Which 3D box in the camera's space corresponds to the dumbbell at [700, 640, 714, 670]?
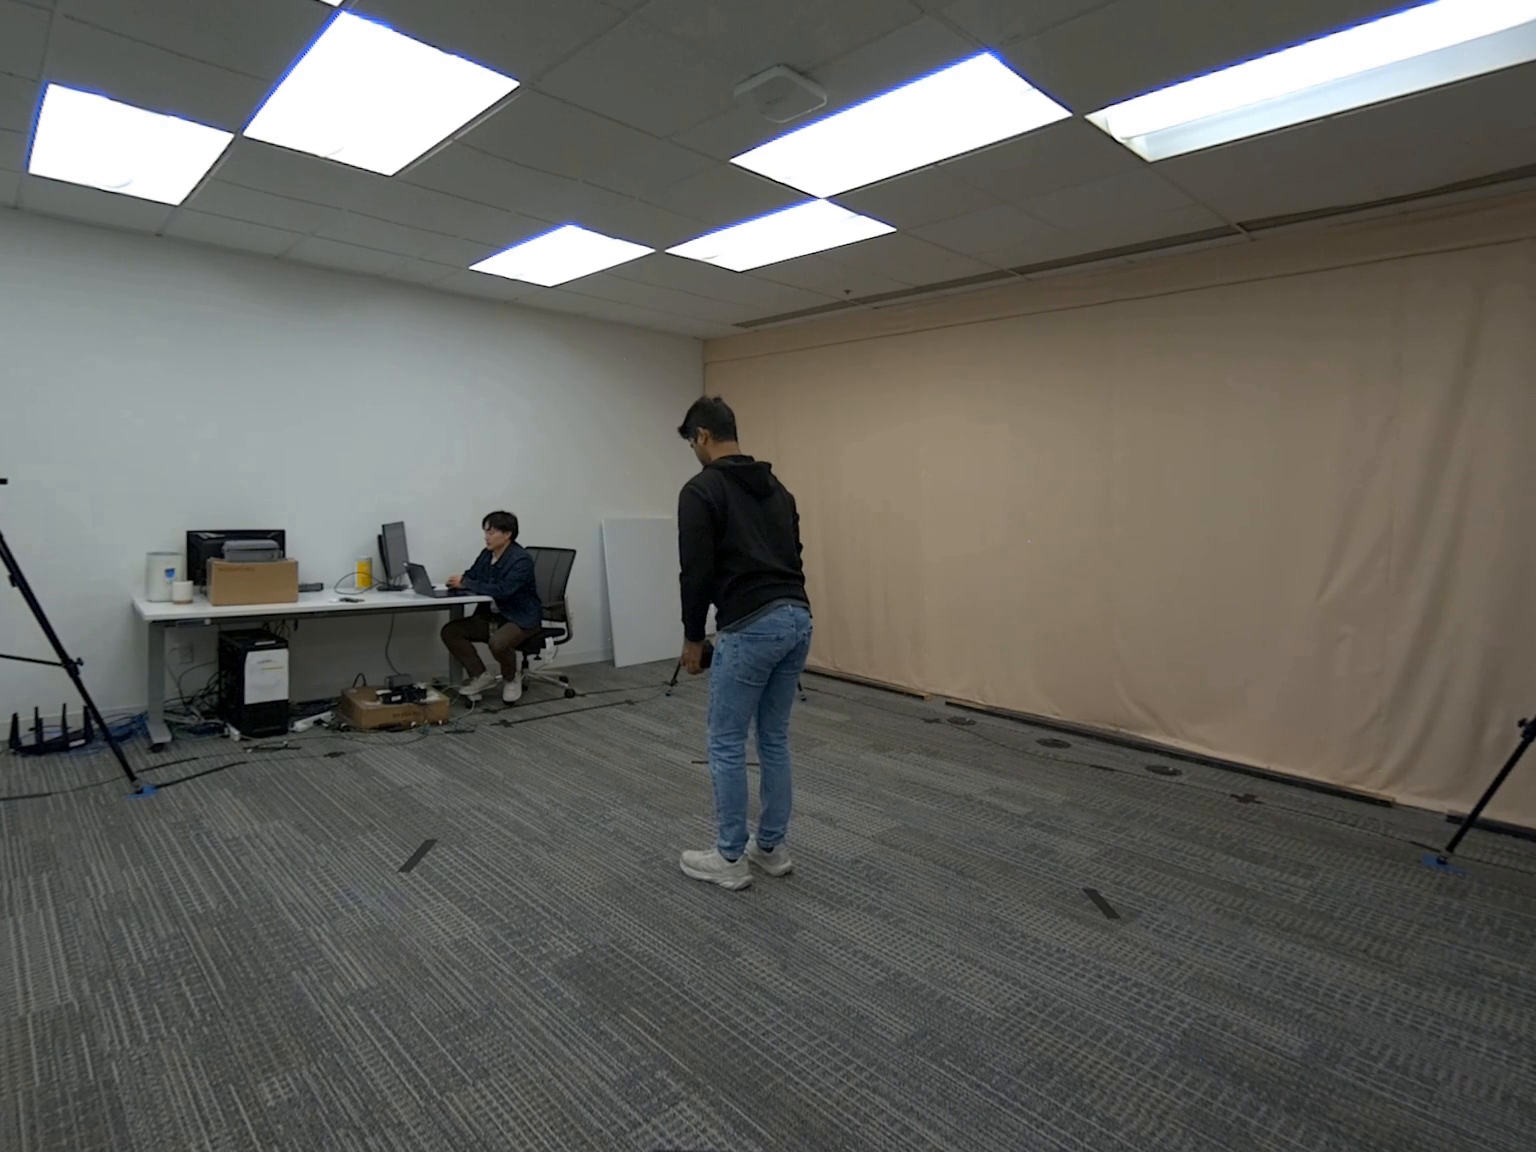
[{"bbox_3d":[-0.170,0.308,3.207,0.286,0.108,0.127,2,40,-41],"label":"dumbbell"}]
